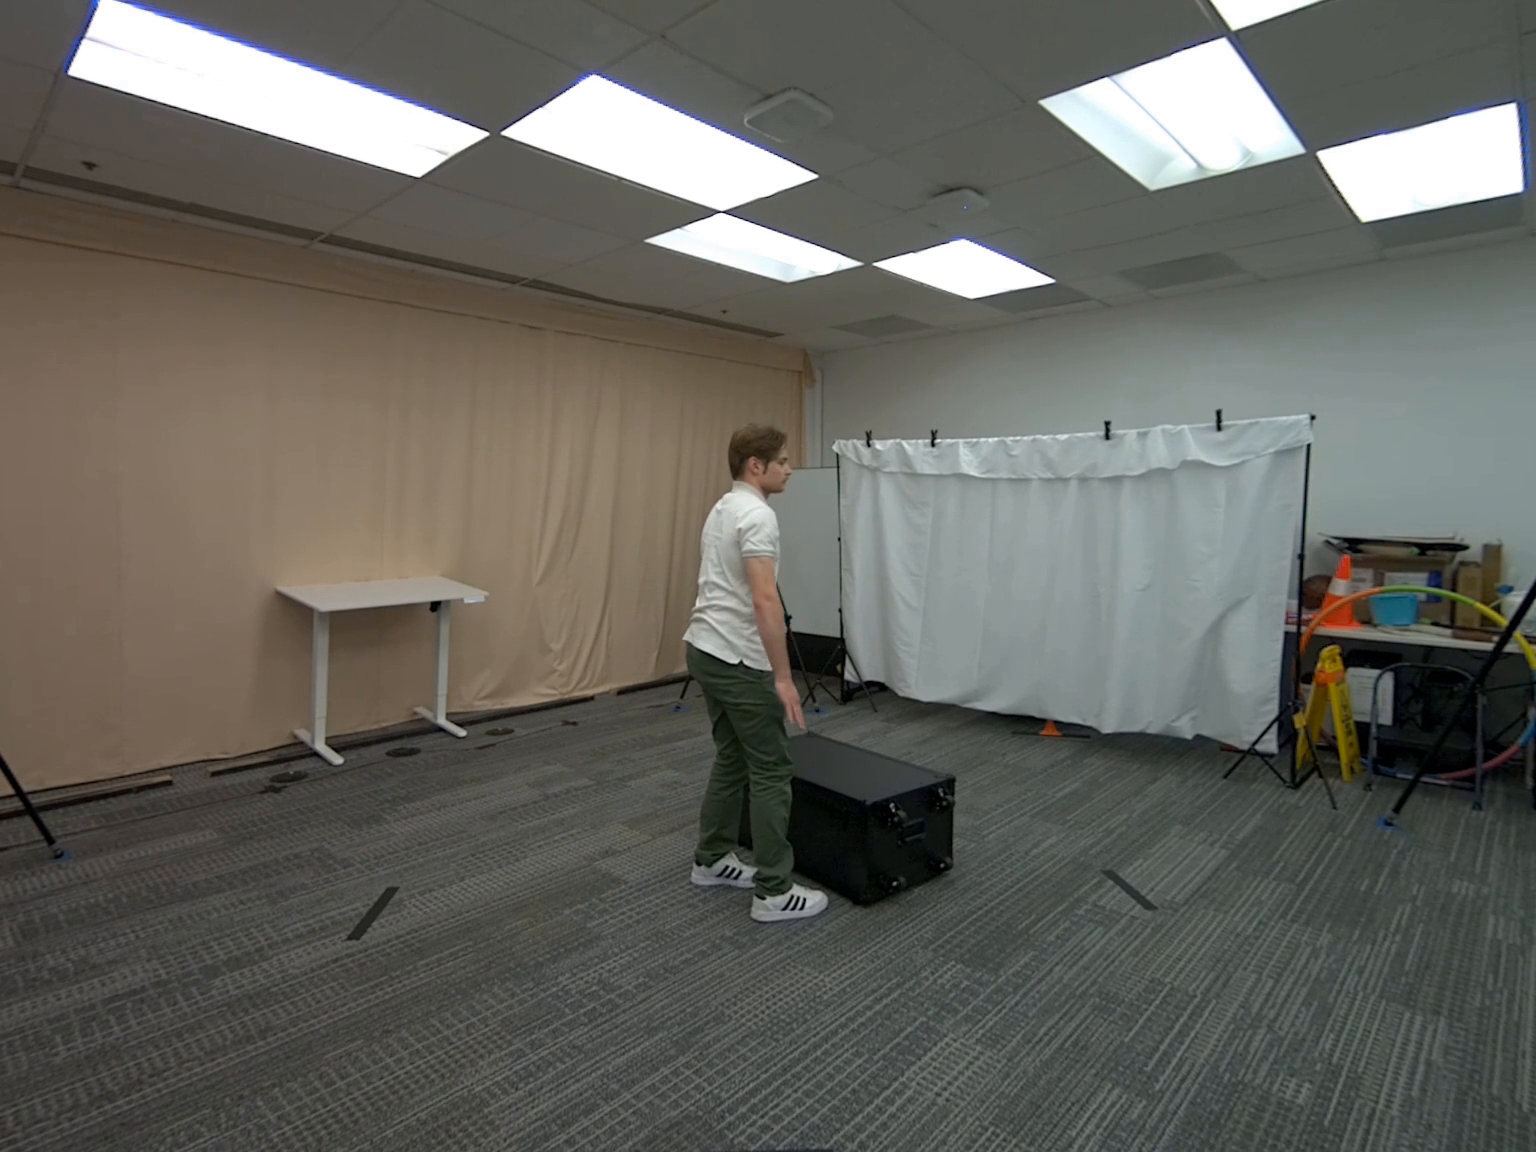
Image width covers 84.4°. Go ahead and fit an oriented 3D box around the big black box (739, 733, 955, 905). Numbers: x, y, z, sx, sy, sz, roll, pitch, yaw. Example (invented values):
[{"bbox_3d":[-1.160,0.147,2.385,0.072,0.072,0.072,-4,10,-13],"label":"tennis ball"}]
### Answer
[{"bbox_3d":[0.284,0.918,3.299,0.507,0.384,0.897,-1,4,-39],"label":"big black box"}]
